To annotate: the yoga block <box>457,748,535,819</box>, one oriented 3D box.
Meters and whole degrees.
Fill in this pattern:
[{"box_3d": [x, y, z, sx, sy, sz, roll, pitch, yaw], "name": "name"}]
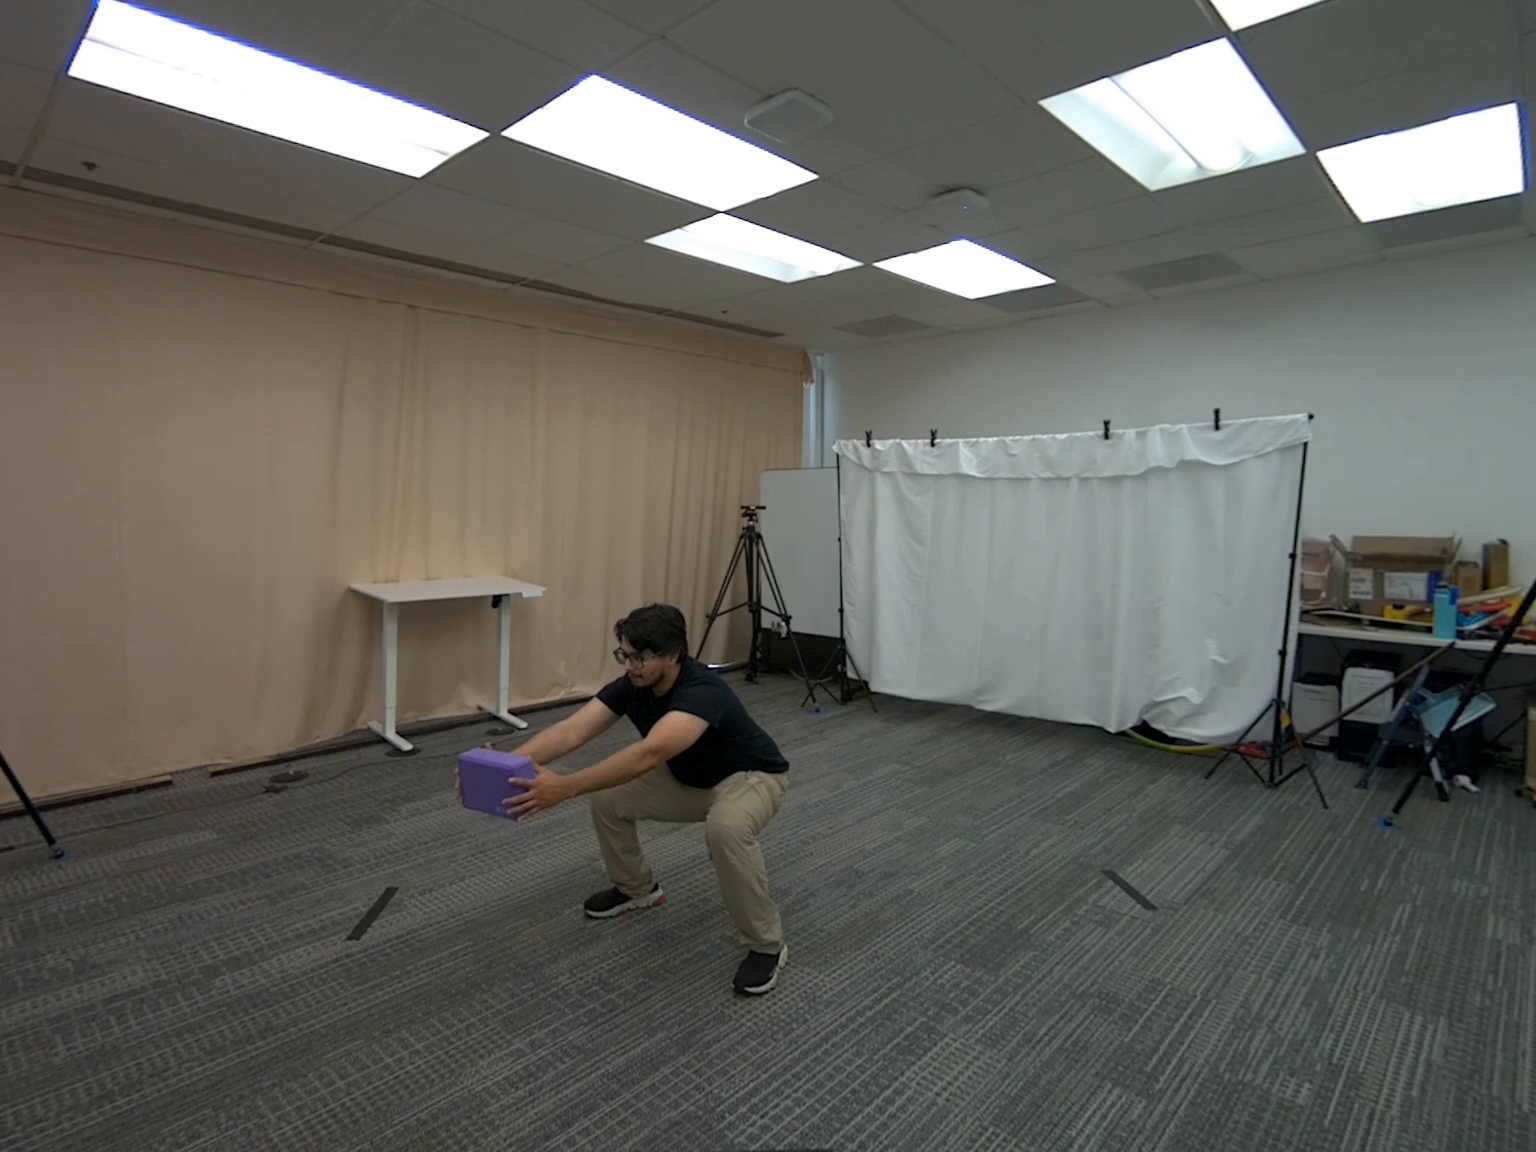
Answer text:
[{"box_3d": [-0.702, 0.549, 2.204, 0.236, 0.148, 0.074, 1, 10, 36], "name": "yoga block"}]
